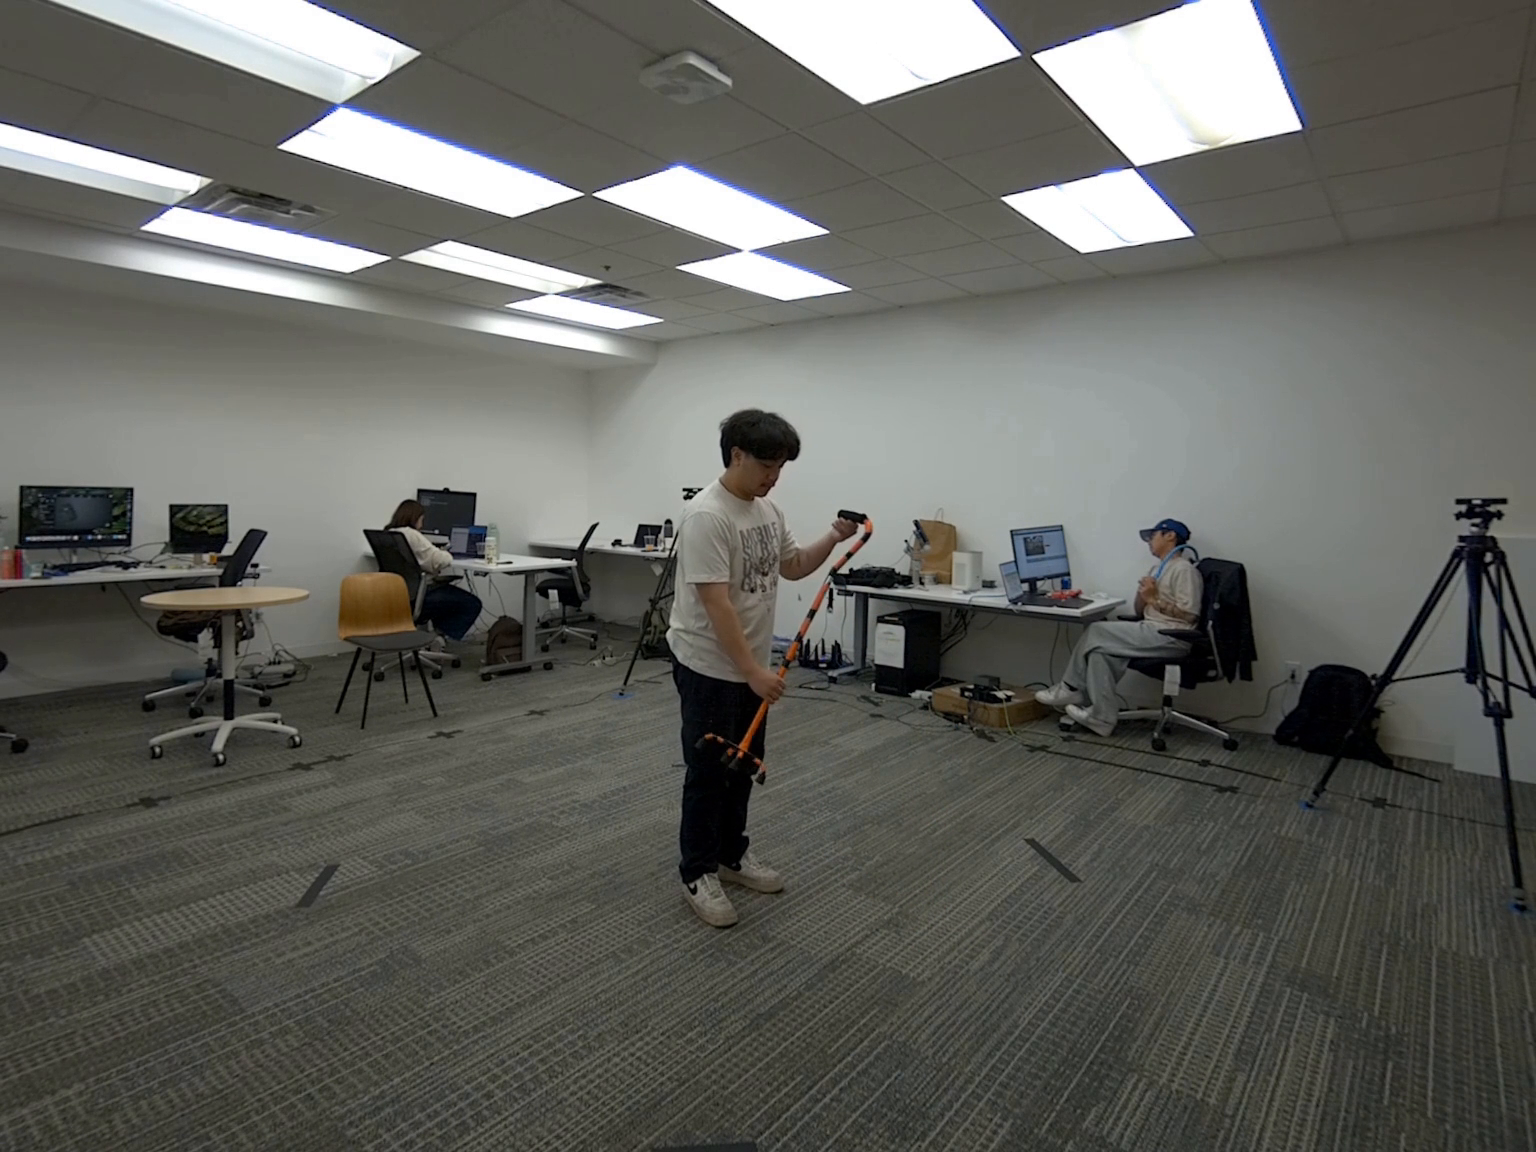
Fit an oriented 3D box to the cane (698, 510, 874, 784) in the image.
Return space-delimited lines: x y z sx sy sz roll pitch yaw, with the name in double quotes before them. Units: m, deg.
"cane" 0.098 0.196 2.681 0.145 0.911 0.214 37 -13 -37
